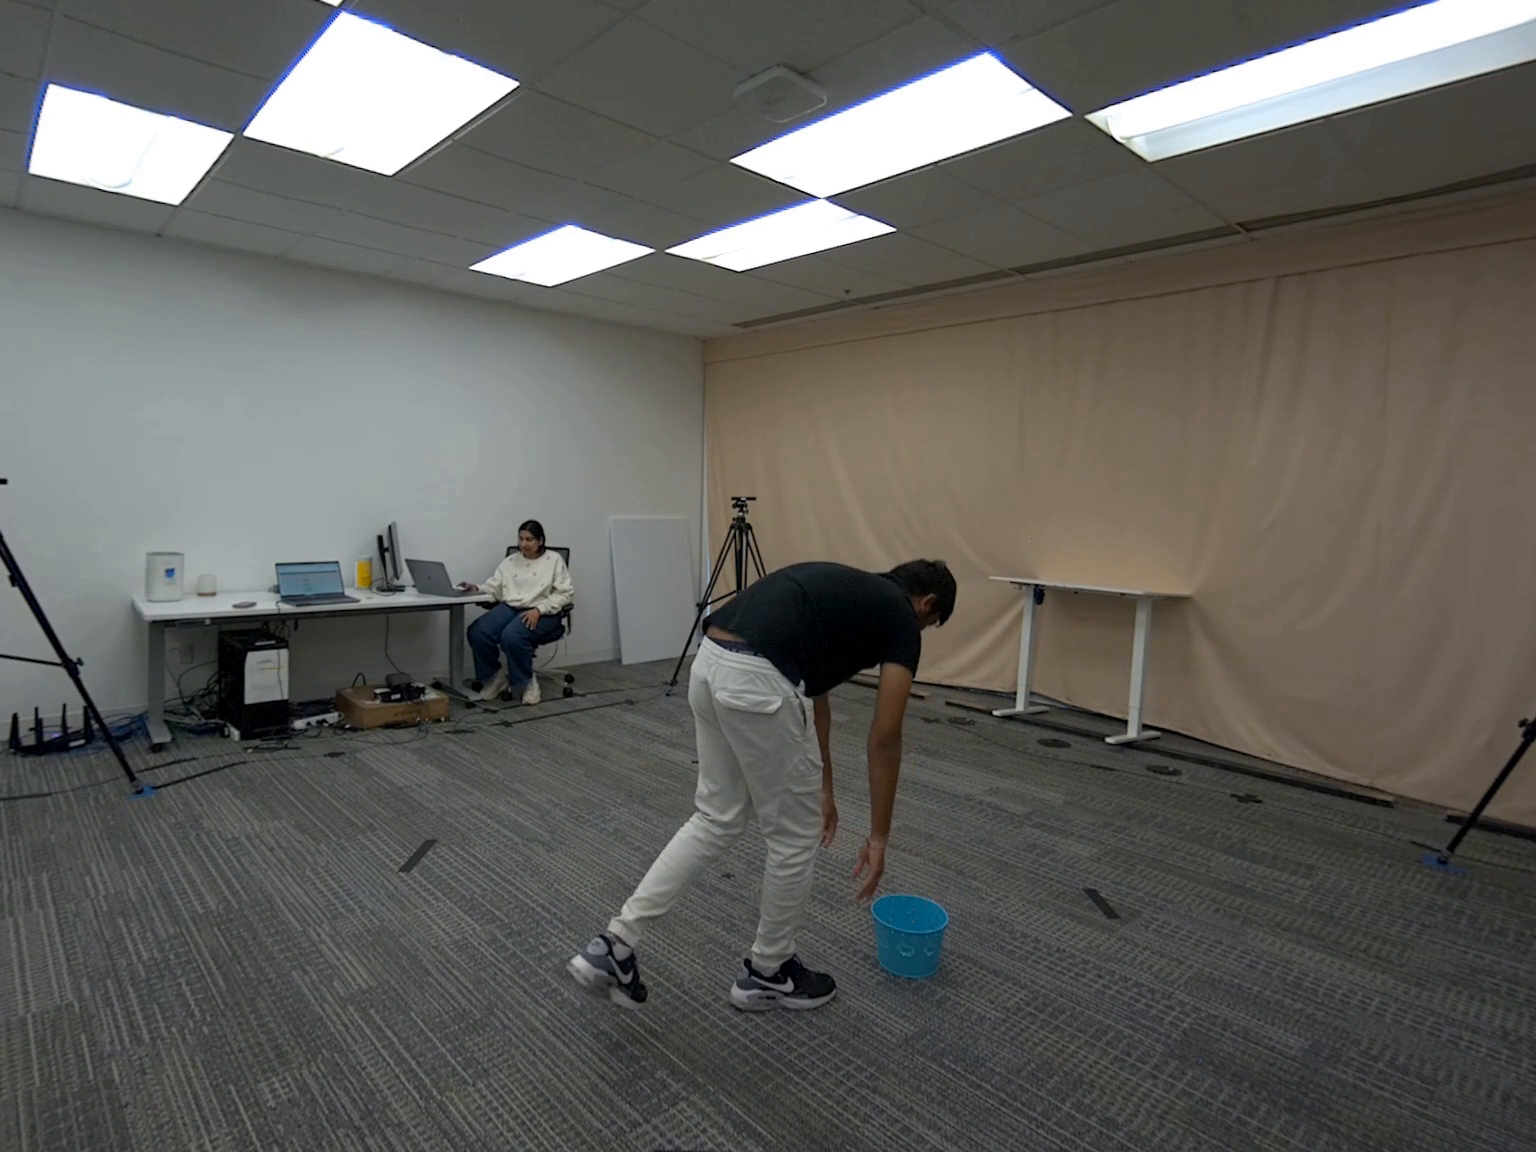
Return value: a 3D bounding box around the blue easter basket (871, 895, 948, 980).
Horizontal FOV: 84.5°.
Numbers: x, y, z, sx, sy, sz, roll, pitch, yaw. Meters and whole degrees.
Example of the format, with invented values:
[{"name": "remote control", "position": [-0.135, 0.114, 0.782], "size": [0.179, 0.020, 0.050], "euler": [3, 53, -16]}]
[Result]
[{"name": "blue easter basket", "position": [0.425, 1.093, 2.559], "size": [0.243, 0.155, 0.244], "euler": [1, 5, -1]}]
